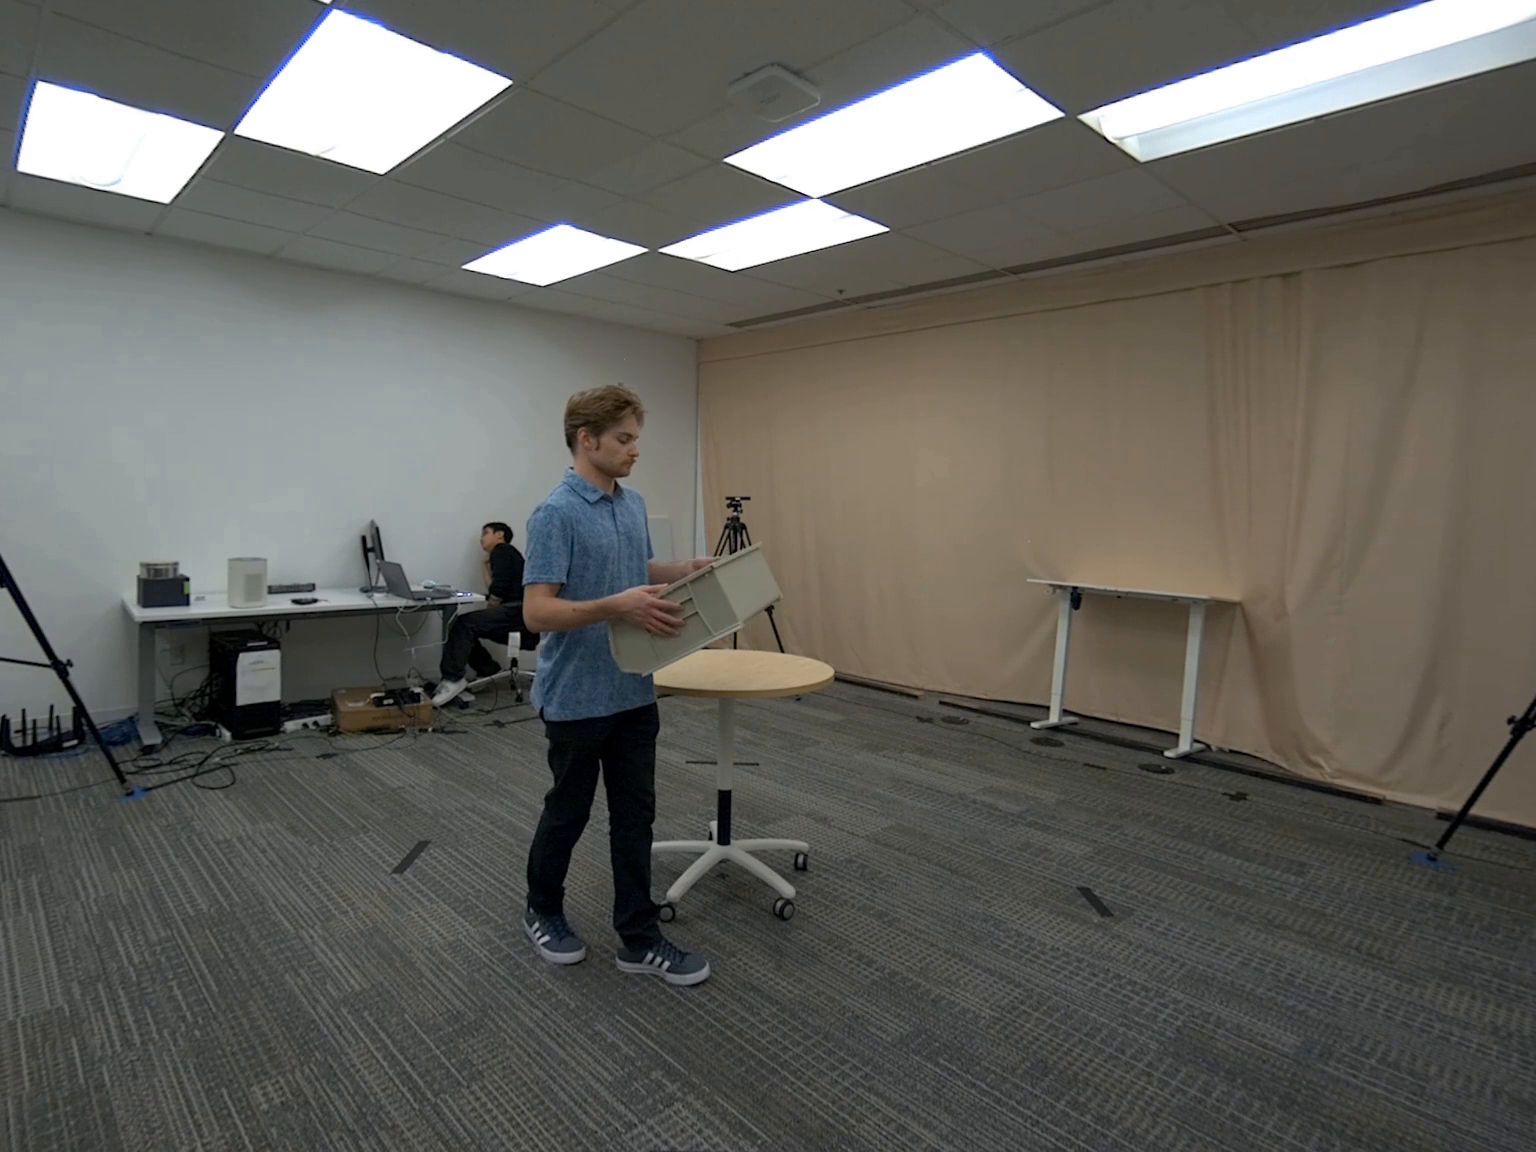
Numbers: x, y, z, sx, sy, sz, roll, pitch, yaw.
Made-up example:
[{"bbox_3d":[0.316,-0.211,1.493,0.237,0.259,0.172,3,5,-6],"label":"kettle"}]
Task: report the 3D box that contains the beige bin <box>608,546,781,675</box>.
[{"bbox_3d":[-0.214,0.096,2.343,0.380,0.189,0.419,-27,1,19],"label":"beige bin"}]
